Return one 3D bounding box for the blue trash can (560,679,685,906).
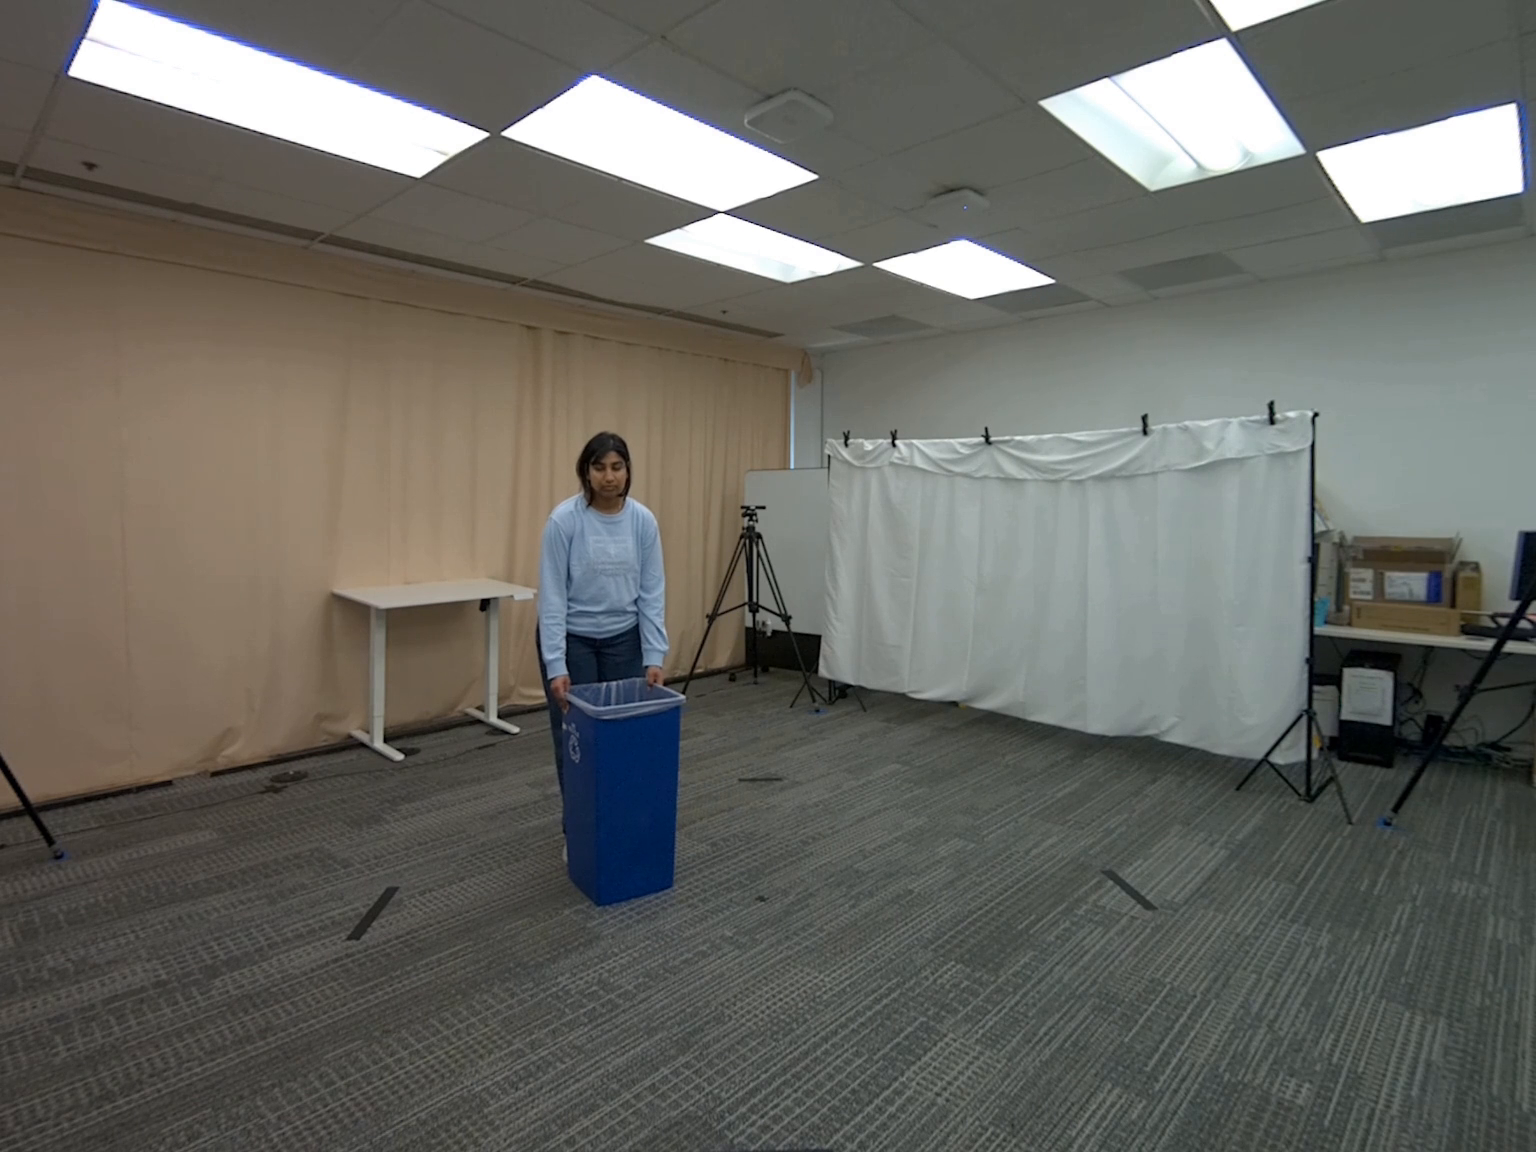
[{"bbox_3d":[-0.536,0.780,3.094,0.367,0.712,0.386,-2,5,-34],"label":"blue trash can"}]
